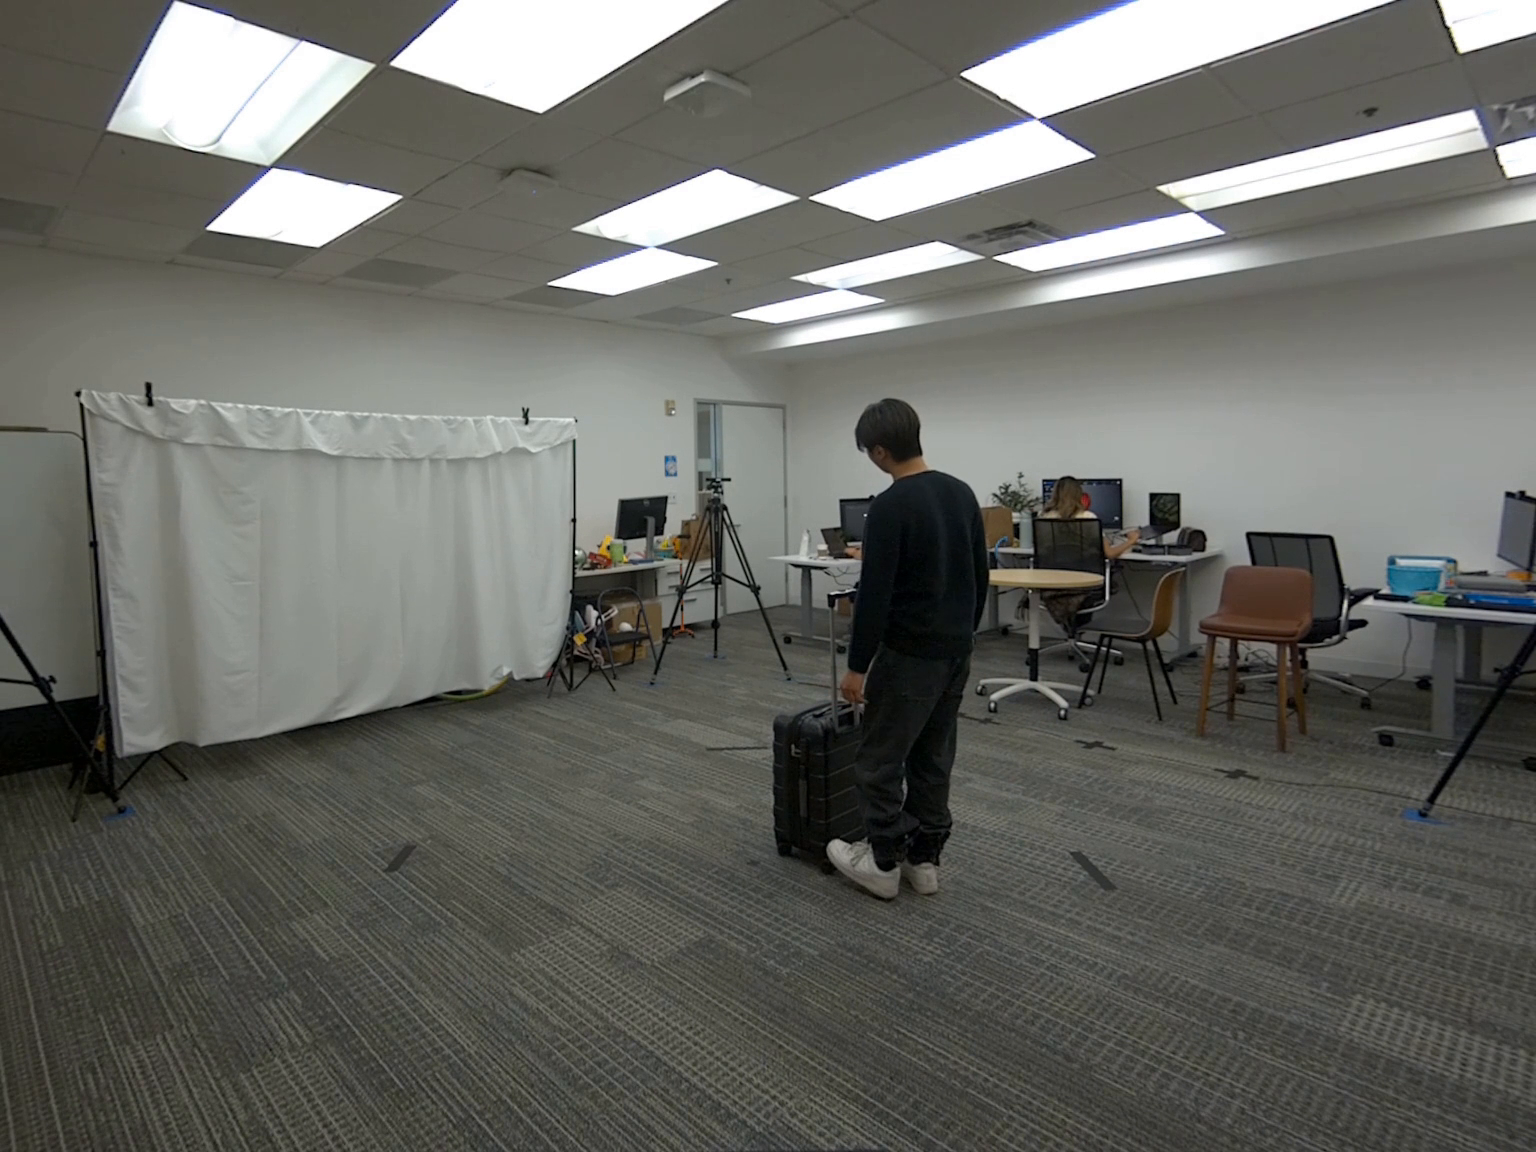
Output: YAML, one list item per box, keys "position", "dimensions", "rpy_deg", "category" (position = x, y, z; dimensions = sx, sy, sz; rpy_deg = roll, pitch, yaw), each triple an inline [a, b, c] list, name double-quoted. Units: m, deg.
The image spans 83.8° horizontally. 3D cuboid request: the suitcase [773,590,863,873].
- position: [0.201, 0.553, 3.187]
  dimensions: [0.374, 0.977, 0.264]
  rpy_deg: [-5, 3, -44]
  category: "suitcase"
